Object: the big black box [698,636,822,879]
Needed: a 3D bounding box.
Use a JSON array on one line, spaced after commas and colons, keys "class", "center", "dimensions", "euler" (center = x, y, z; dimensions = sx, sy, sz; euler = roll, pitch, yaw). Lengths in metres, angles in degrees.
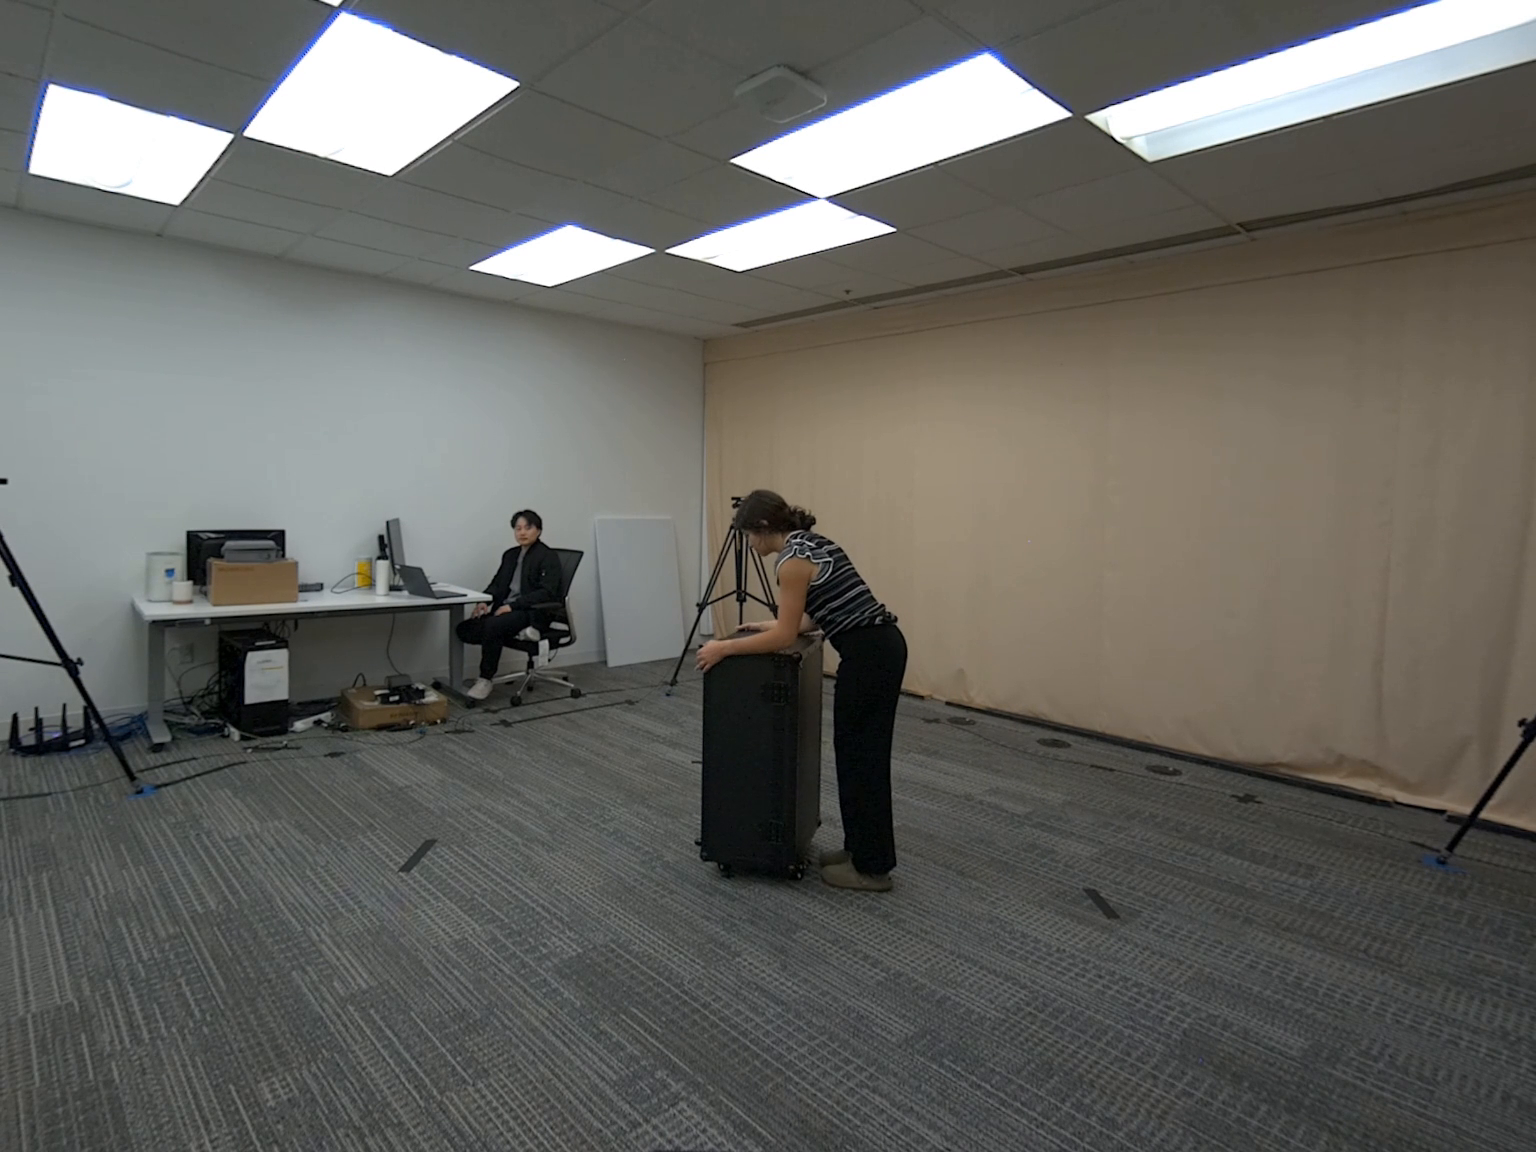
[{"class": "big black box", "center": [-0.027, 0.674, 3.222], "dimensions": [0.401, 0.859, 0.517], "euler": [1, 4, 13]}]
